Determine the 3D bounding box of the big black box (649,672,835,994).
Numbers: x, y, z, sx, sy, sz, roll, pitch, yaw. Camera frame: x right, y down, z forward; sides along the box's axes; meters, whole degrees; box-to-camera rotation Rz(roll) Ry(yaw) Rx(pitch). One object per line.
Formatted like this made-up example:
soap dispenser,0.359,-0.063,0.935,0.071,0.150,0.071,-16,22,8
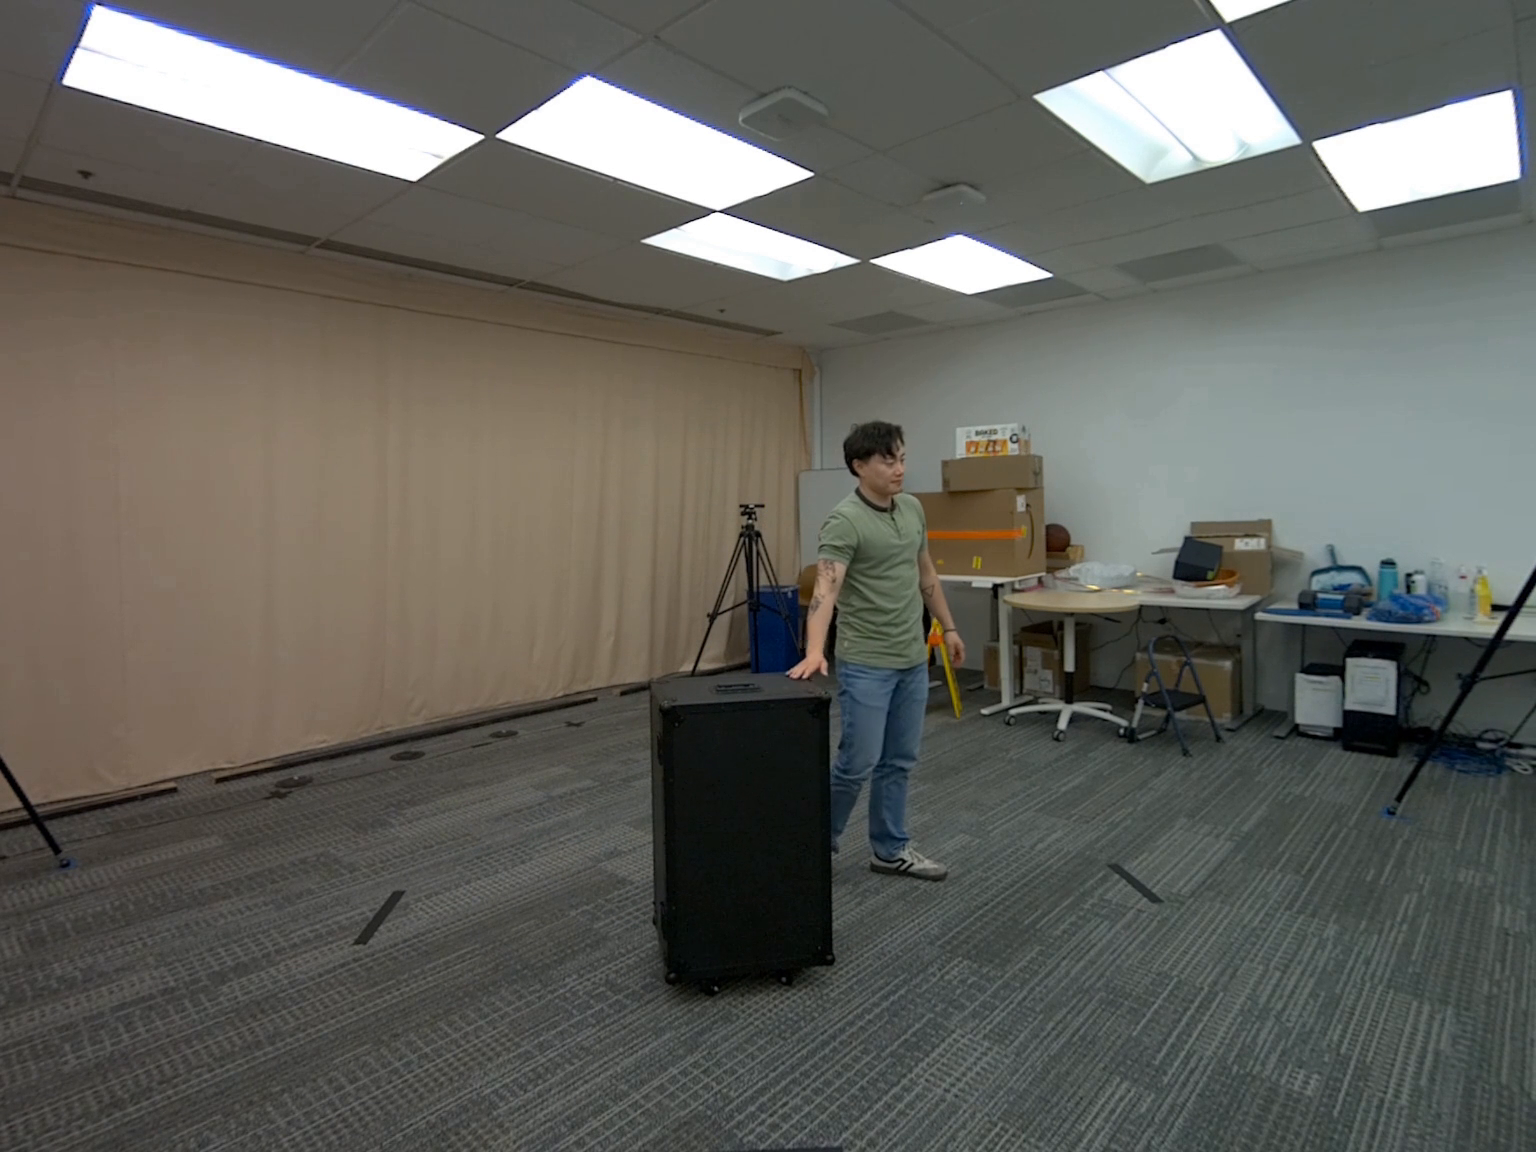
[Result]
big black box,-0.087,0.698,2.529,0.515,0.860,0.402,-2,3,-12
